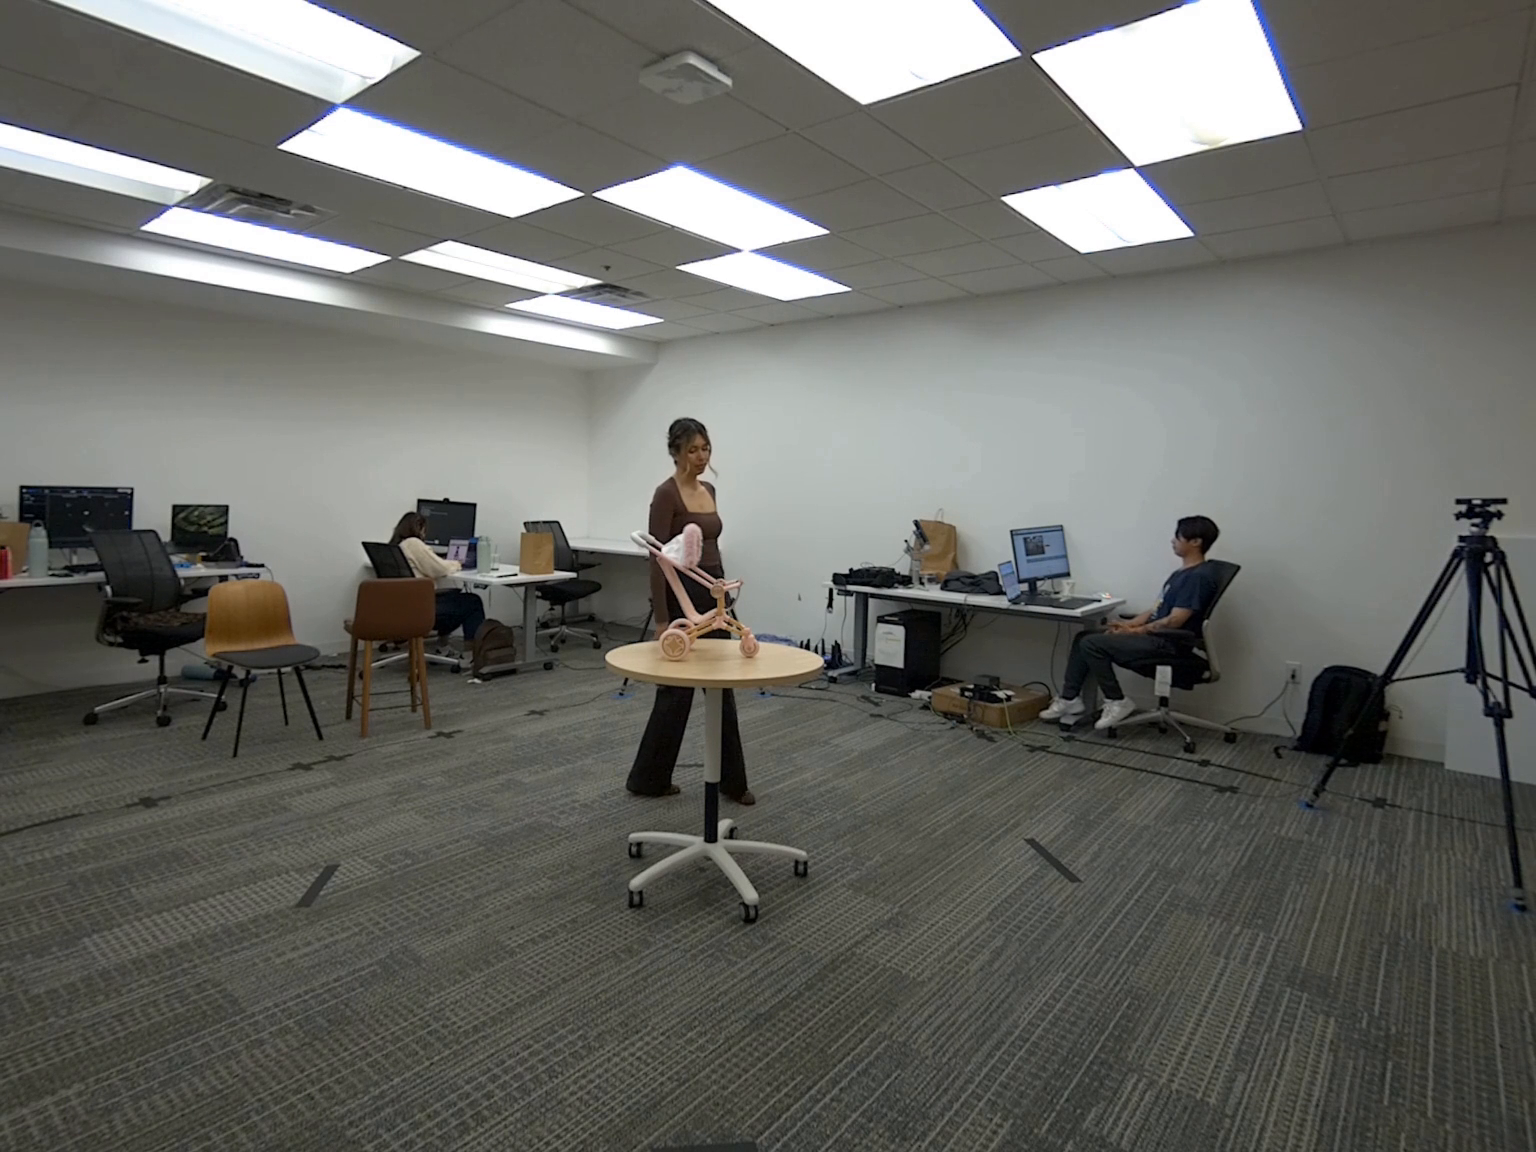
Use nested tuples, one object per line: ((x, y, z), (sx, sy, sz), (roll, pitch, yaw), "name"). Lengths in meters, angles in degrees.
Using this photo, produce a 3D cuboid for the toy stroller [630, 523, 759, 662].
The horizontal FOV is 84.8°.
((-0.254, 0.055, 3.012), (0.343, 0.535, 0.280), (-14, 1, 8), "toy stroller")
